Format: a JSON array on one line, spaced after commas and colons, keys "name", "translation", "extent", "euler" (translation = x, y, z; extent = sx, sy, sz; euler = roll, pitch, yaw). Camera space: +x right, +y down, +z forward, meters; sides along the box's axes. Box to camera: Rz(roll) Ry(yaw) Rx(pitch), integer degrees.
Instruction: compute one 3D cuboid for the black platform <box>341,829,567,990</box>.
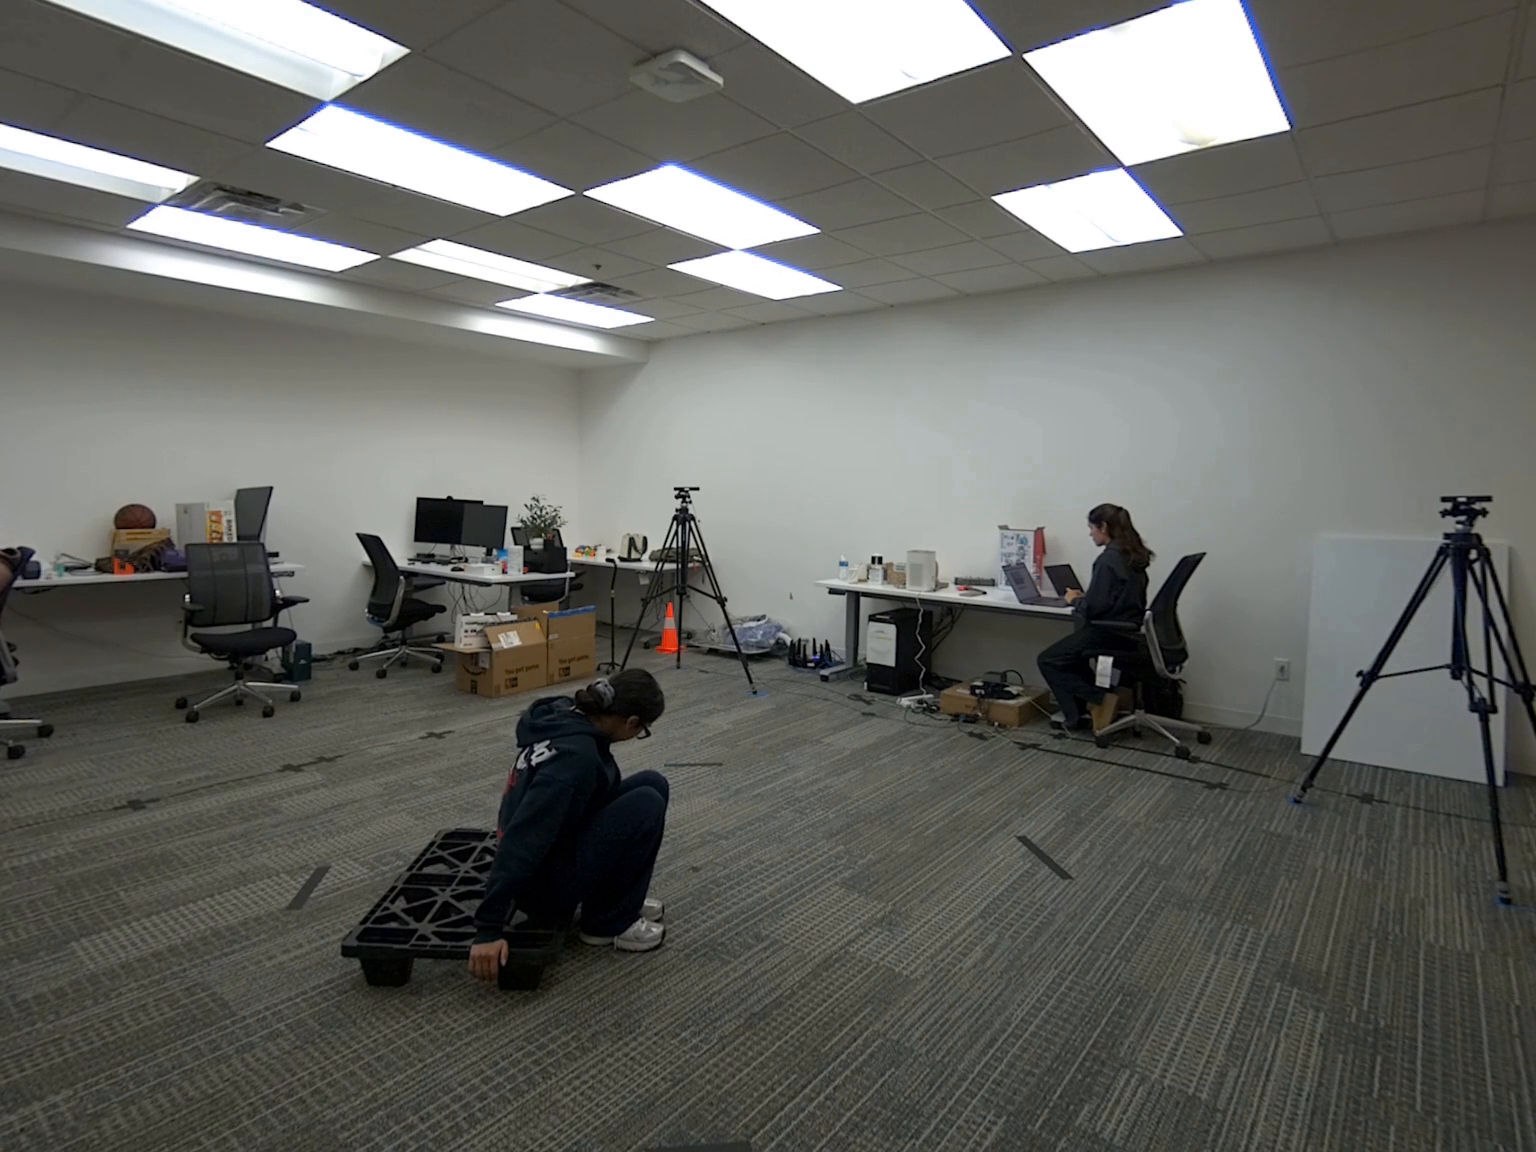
[{"name": "black platform", "translation": [-0.901, 1.030, 2.704], "extent": [0.605, 0.143, 0.809], "euler": [0, 6, -1]}]
